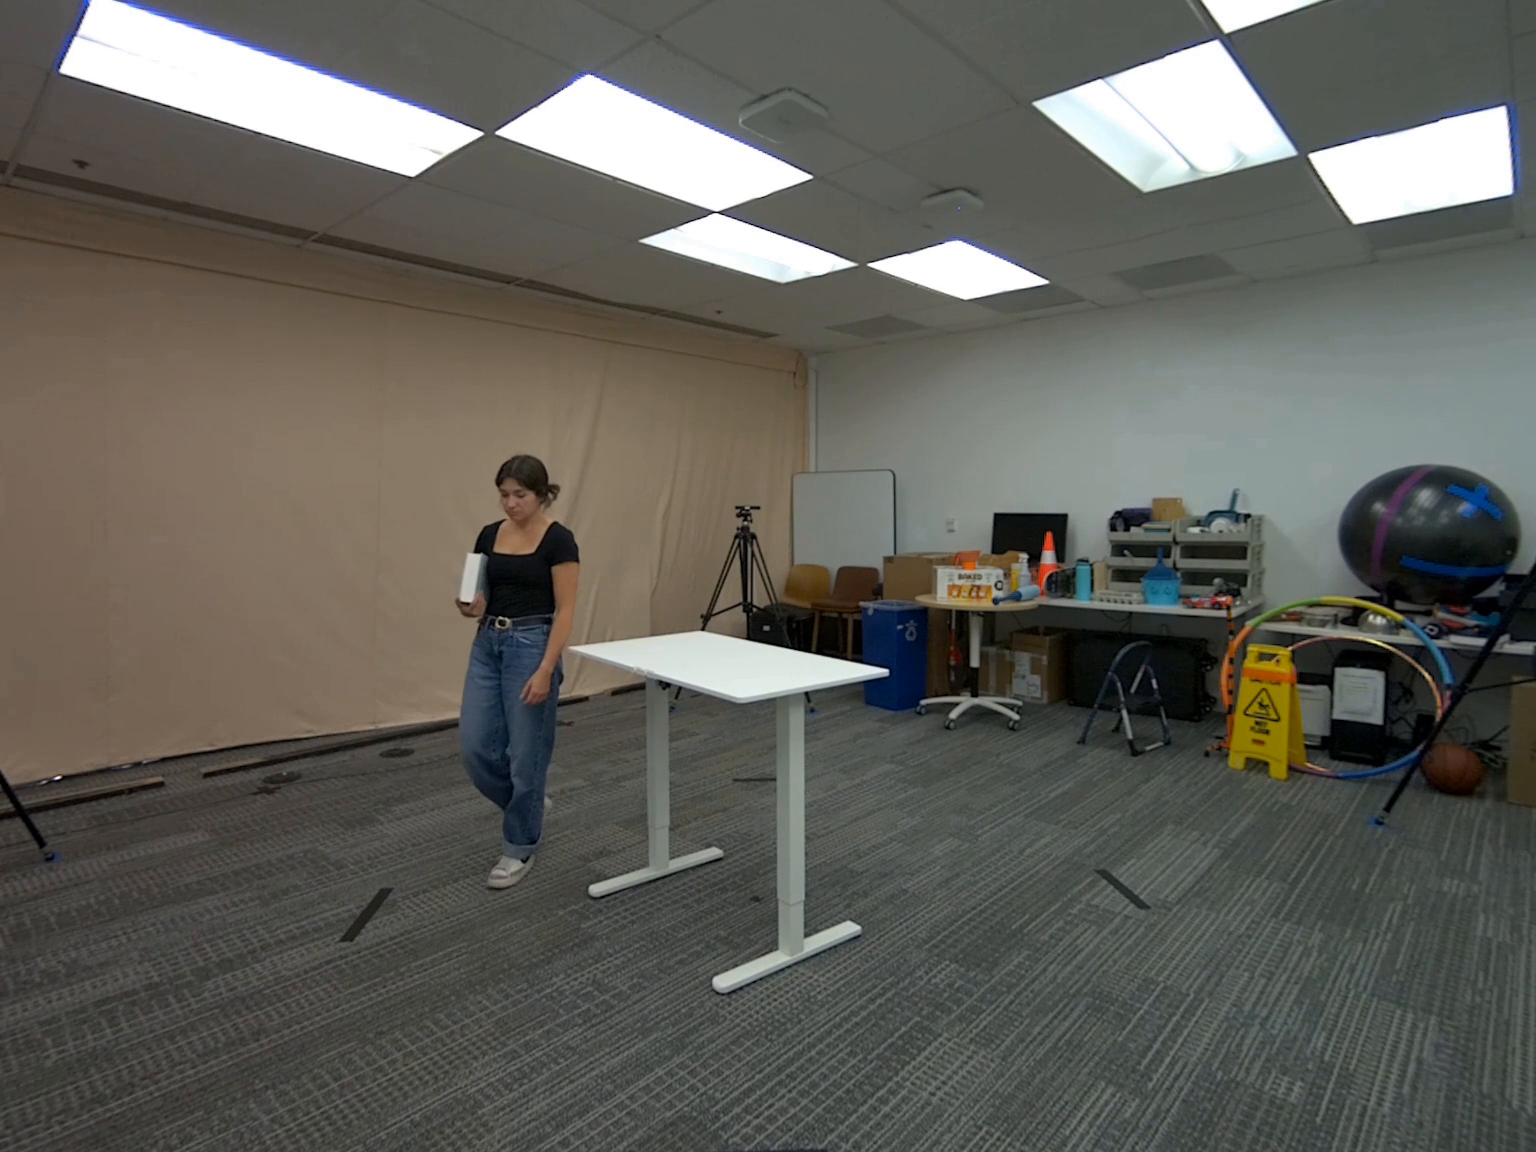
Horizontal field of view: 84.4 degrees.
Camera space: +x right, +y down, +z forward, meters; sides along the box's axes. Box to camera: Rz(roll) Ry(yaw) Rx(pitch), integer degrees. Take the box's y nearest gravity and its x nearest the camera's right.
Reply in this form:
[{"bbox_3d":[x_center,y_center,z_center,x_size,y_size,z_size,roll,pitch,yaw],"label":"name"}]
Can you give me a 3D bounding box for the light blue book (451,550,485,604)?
[{"bbox_3d":[-1.095,0.030,3.202,0.059,0.192,0.256,5,-14,7],"label":"light blue book"}]
